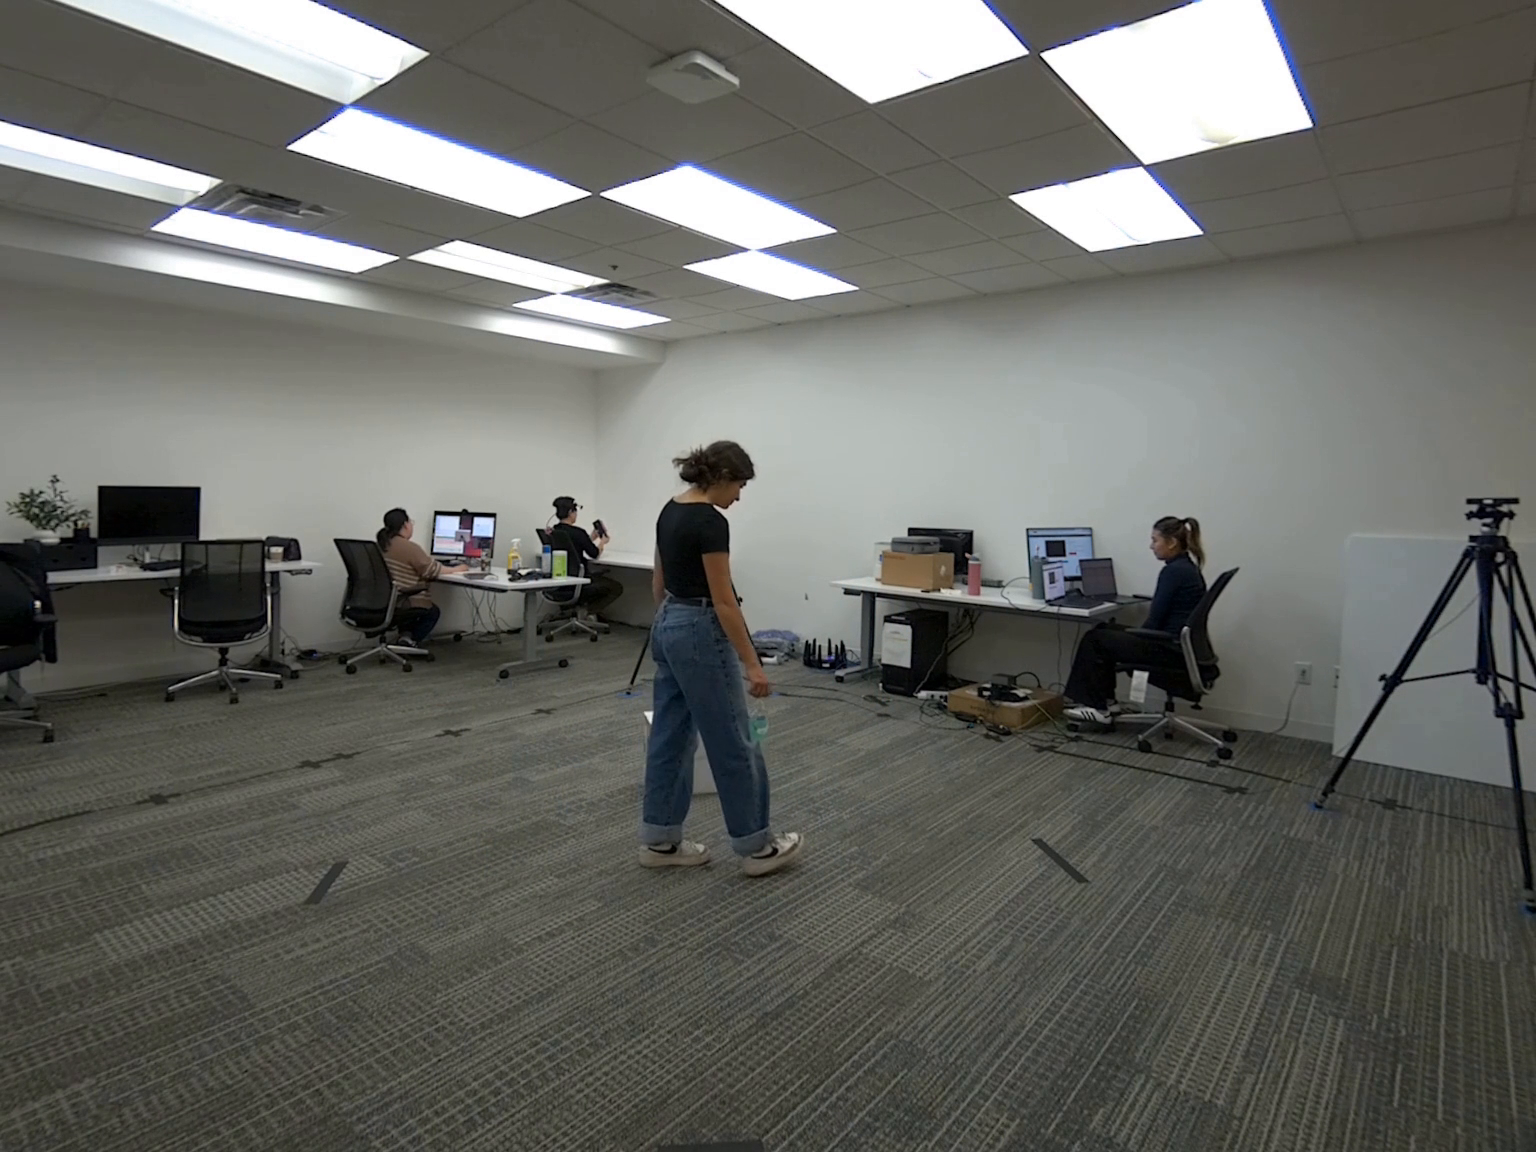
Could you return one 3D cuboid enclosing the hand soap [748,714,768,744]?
[{"bbox_3d":[-0.038,0.492,2.980,0.082,0.169,0.044,5,-5,-32],"label":"hand soap"}]
